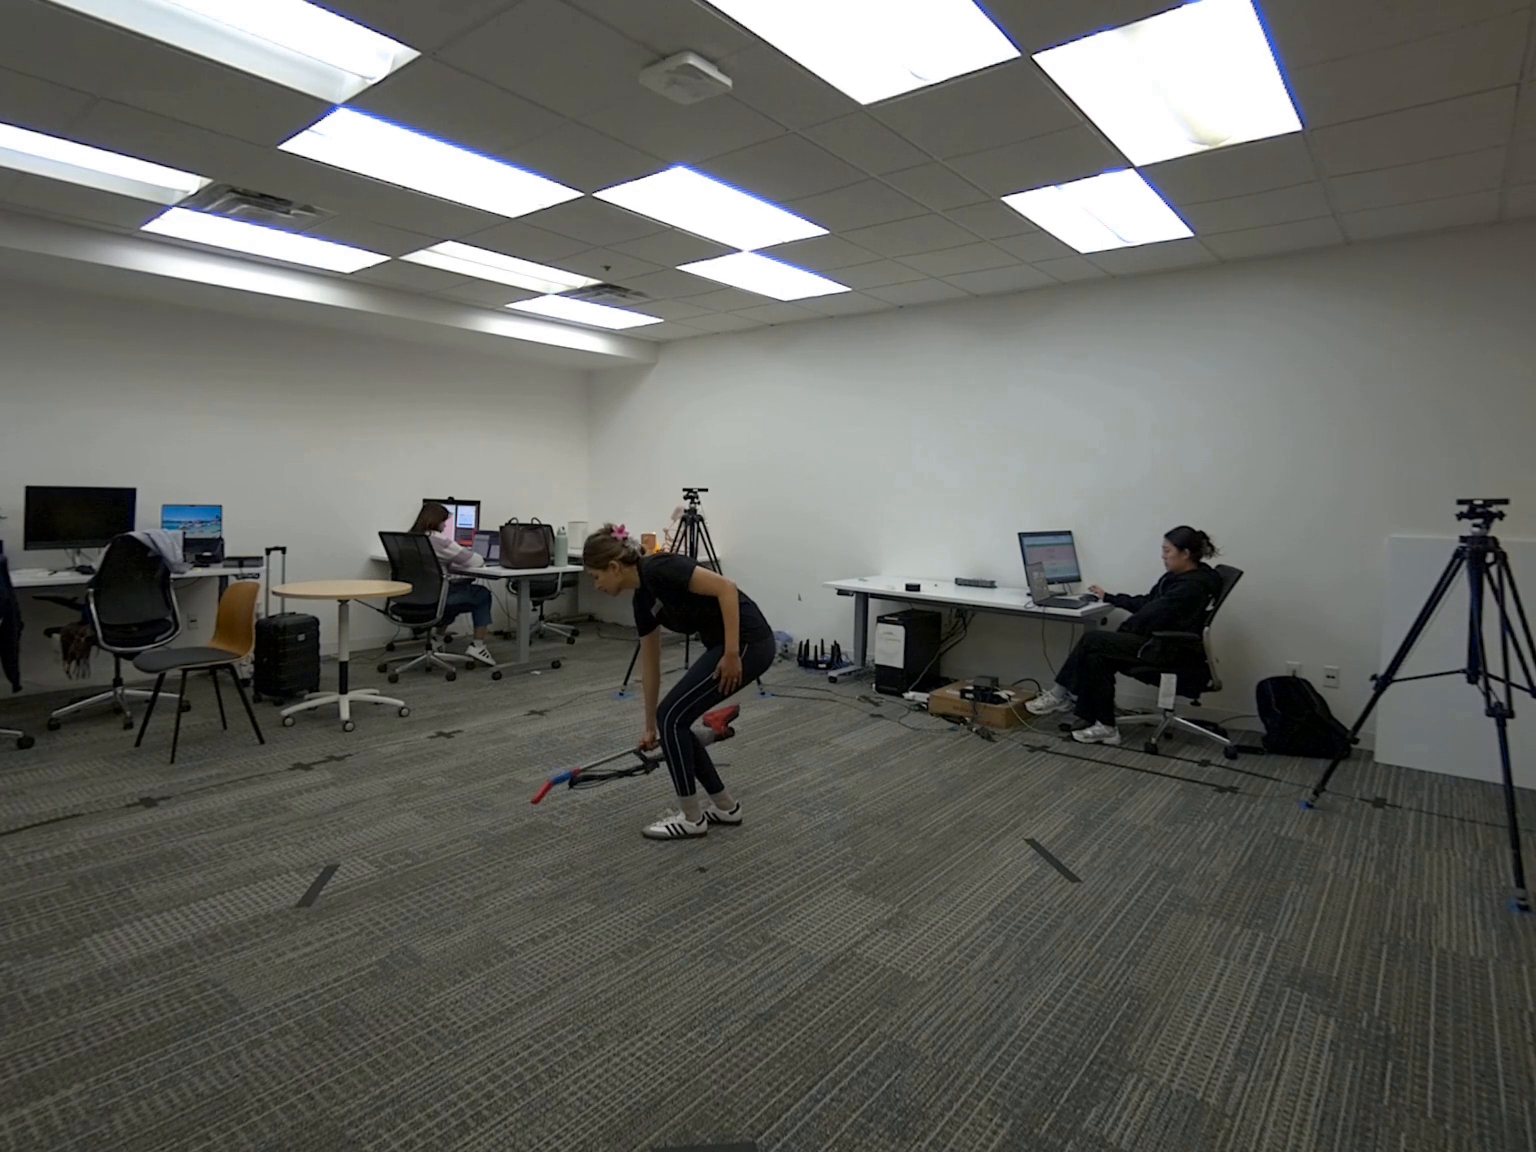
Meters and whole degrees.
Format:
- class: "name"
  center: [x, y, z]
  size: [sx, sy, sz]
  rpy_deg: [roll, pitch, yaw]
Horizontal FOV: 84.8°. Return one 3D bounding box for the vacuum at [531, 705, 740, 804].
- class: "vacuum"
  center: [-0.564, 0.781, 3.607]
  size: [1.023, 0.145, 0.256]
  rpy_deg: [-14, -9, -45]
